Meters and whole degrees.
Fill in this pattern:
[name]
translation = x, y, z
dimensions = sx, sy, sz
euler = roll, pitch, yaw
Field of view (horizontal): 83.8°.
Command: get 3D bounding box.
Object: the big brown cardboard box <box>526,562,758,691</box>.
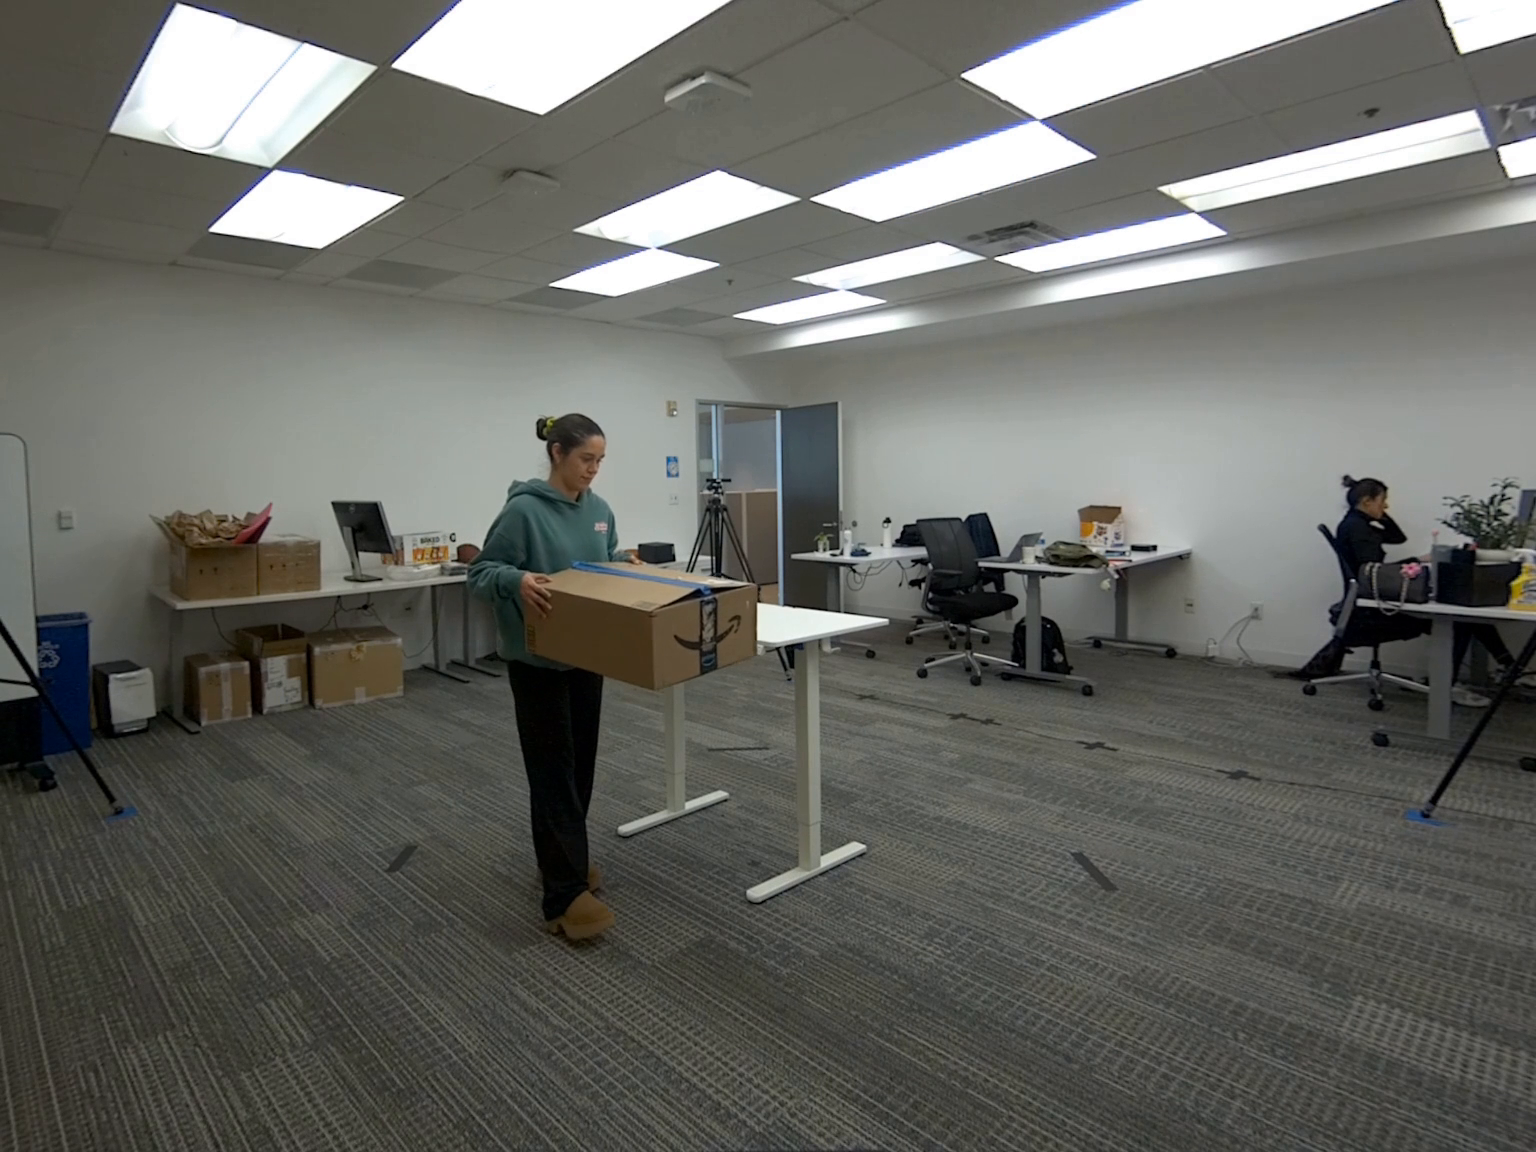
[big brown cardboard box]
translation = -0.368, 0.120, 2.507
dimensions = 0.608, 0.231, 0.408
euler = 8, 13, 40
